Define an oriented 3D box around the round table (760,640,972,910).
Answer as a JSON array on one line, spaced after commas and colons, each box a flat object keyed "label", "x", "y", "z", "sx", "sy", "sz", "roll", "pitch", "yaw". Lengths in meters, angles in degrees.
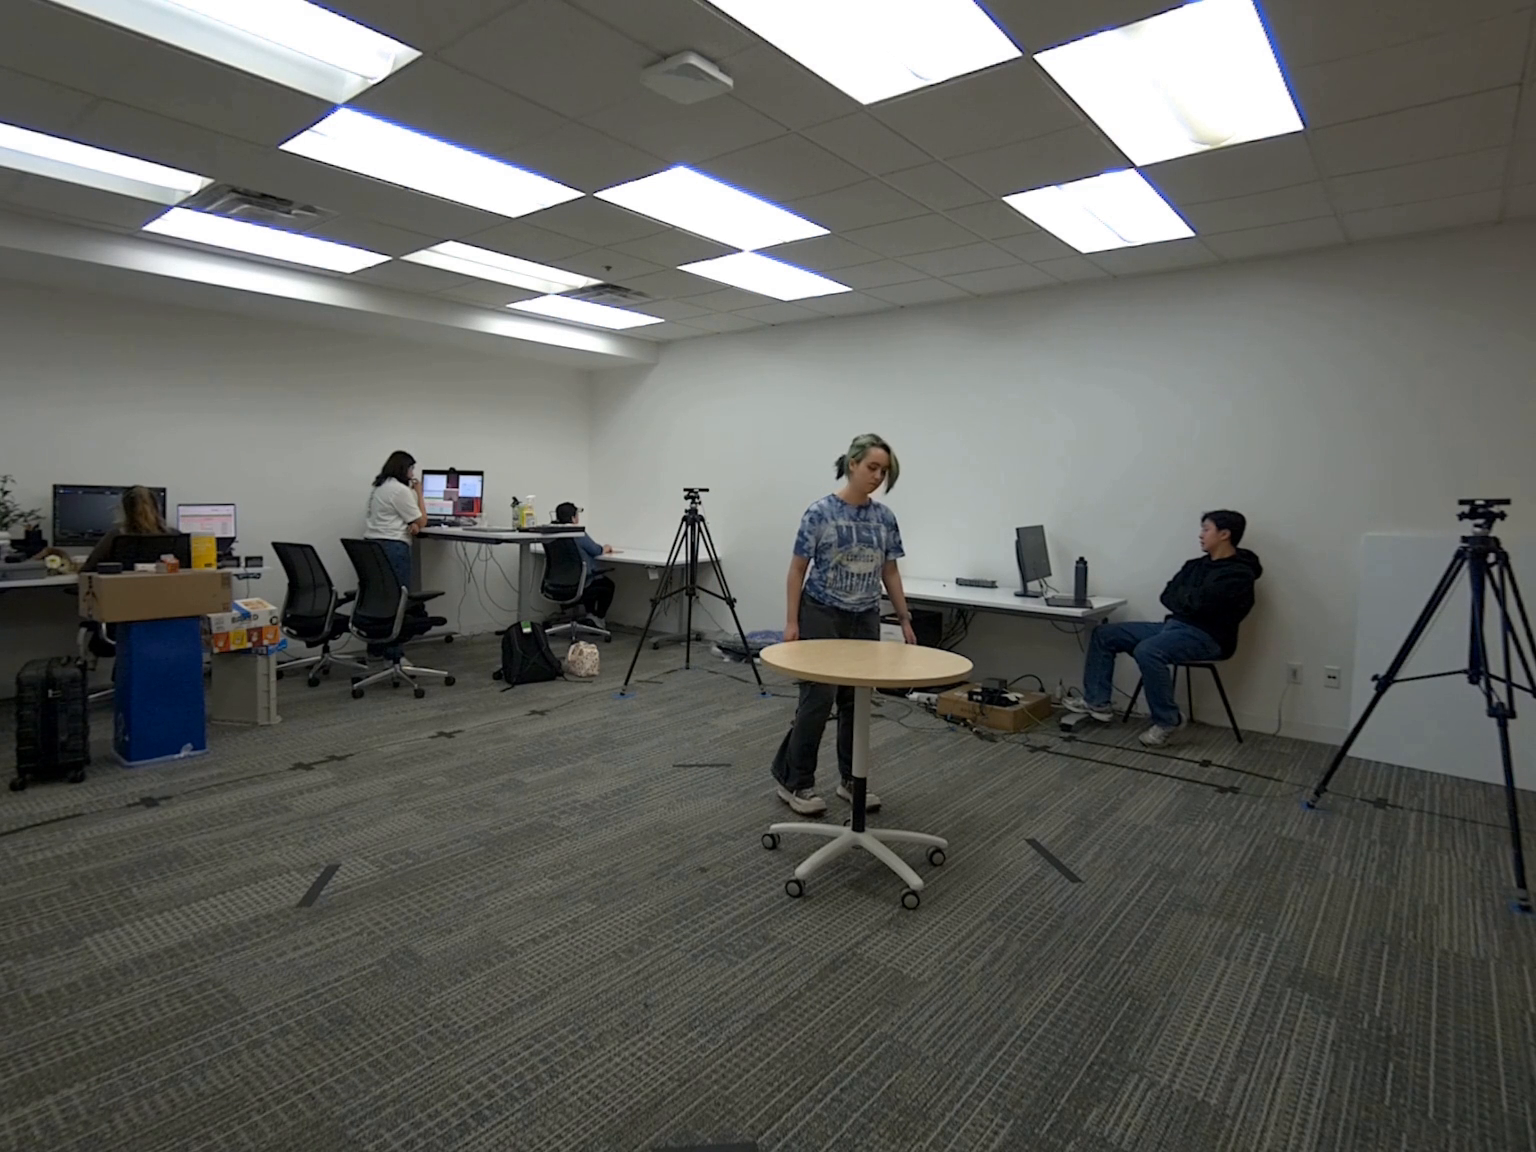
[{"label": "round table", "x": 0.327, "y": 0.689, "z": 3.139, "sx": 0.763, "sy": 0.791, "sz": 0.768, "roll": 1, "pitch": 4, "yaw": -2}]
